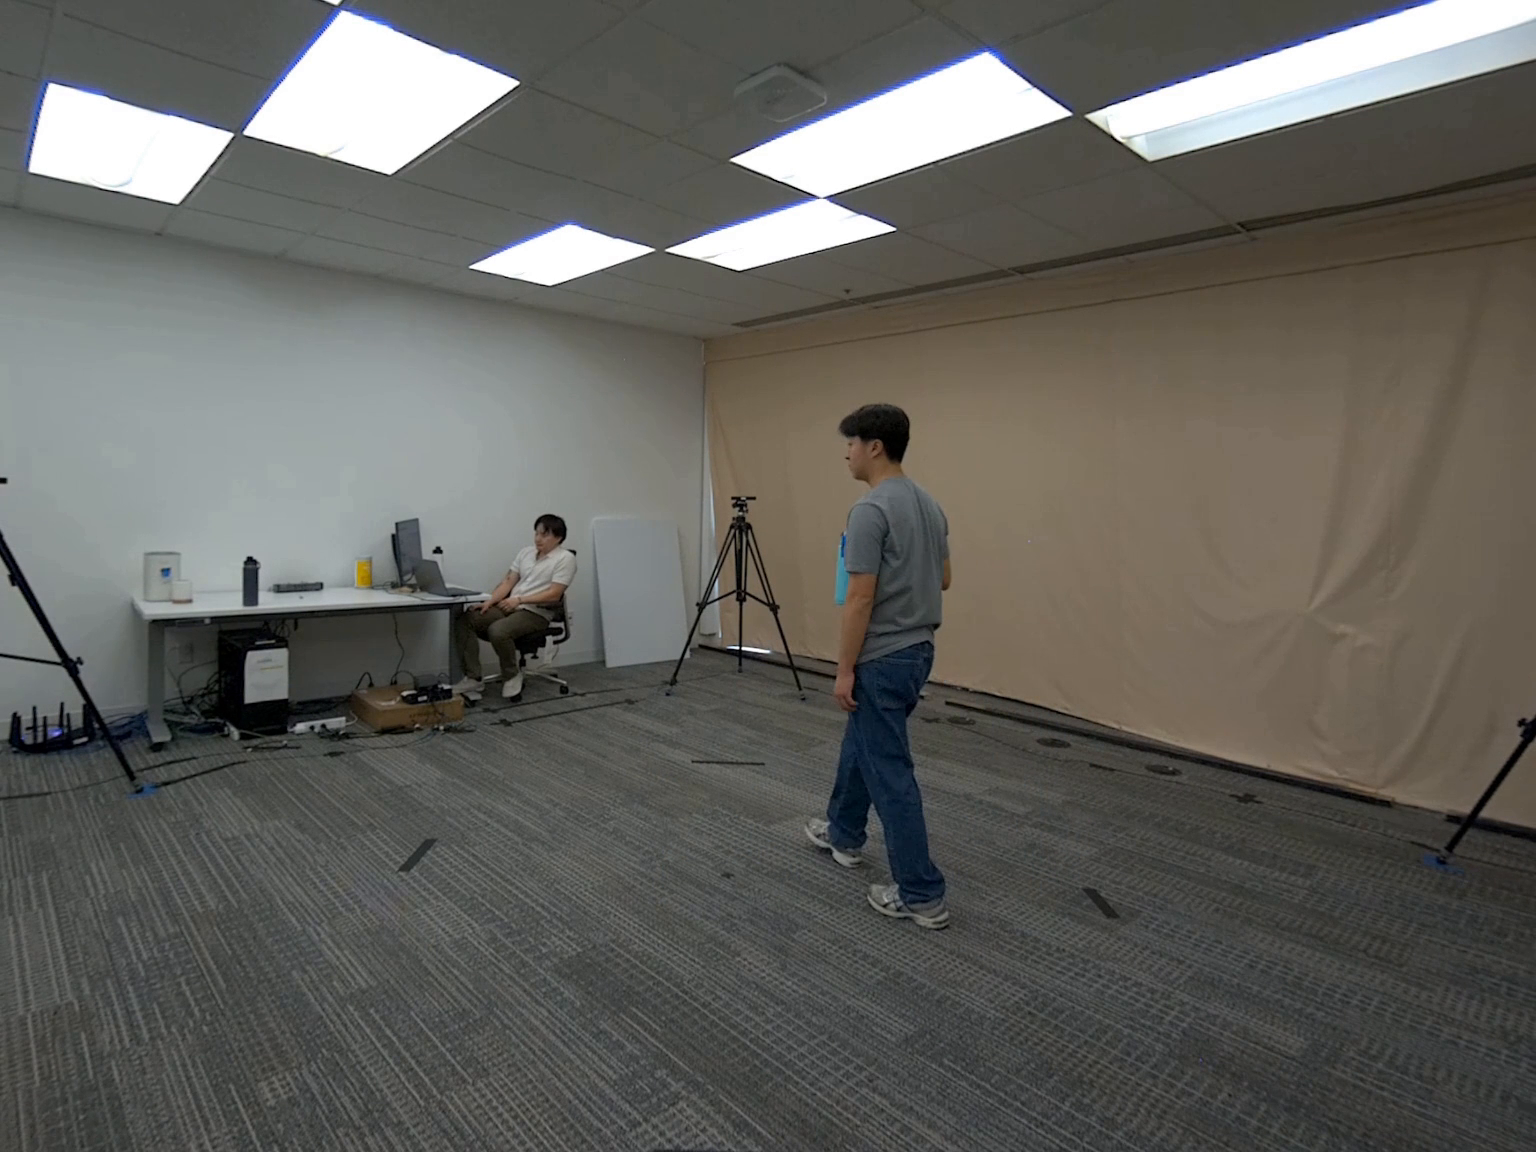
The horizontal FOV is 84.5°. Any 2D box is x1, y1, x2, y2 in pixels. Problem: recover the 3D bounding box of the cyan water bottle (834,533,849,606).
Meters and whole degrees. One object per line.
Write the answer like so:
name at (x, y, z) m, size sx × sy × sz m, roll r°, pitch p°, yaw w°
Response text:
cyan water bottle at (0.303, -0.032, 3.192) m, size 0.092 × 0.284 × 0.092 m, roll 2°, pitch -3°, yaw -1°
